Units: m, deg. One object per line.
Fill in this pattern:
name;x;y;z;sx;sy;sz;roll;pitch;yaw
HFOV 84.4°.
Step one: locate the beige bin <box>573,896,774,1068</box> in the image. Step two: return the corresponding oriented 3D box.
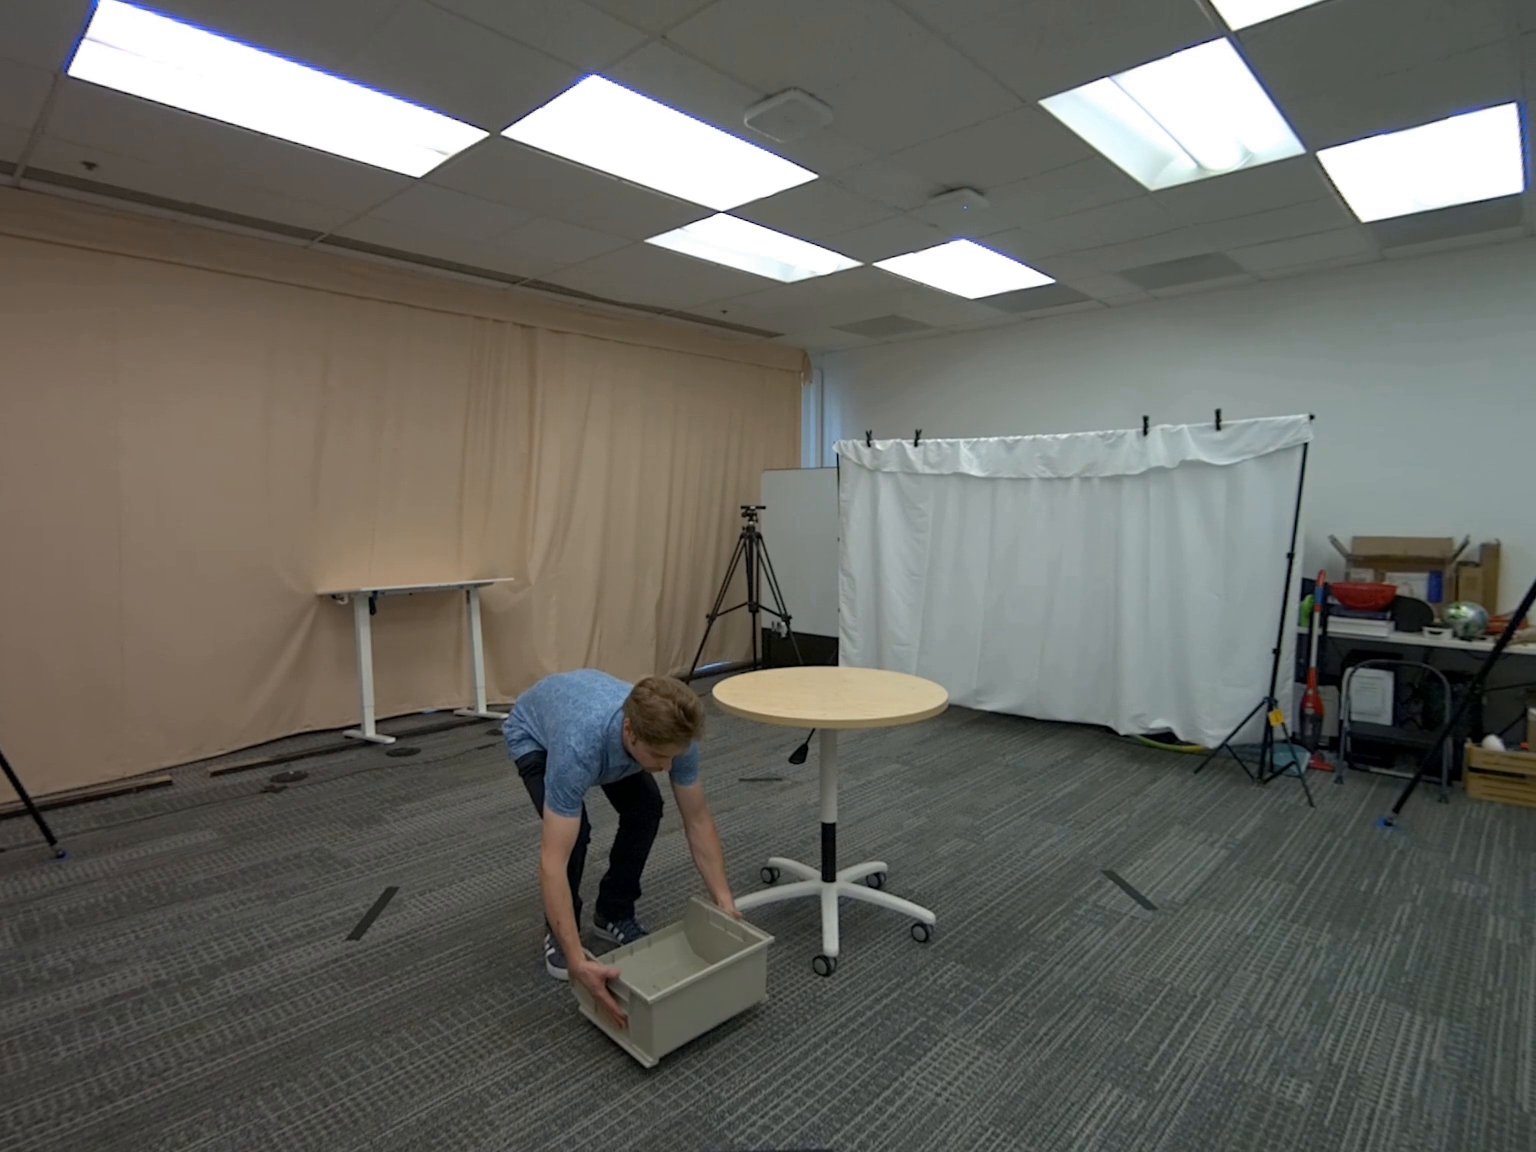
beige bin;-0.261;1.069;2.269;0.409;0.188;0.390;-6;8;-43
